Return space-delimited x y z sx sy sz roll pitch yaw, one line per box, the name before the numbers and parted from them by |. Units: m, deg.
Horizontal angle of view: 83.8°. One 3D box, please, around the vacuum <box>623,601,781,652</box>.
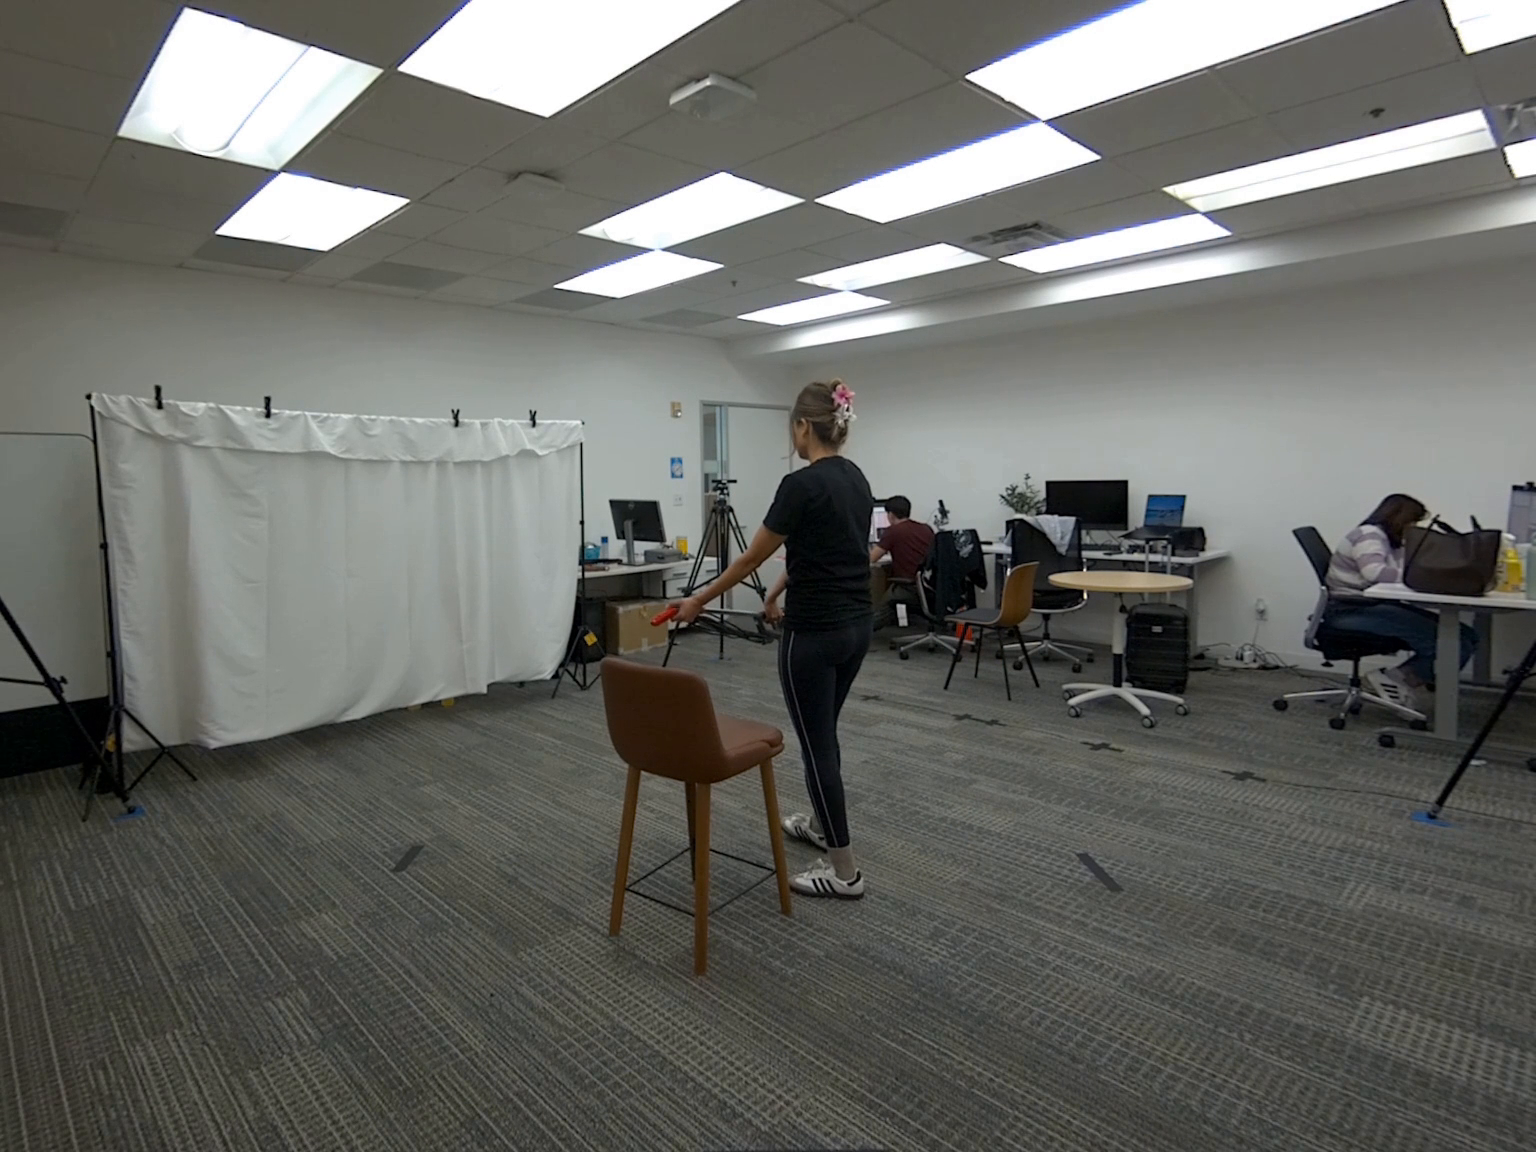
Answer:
vacuum | -0.047 0.197 3.246 0.260 0.144 1.016 3 -2 45
